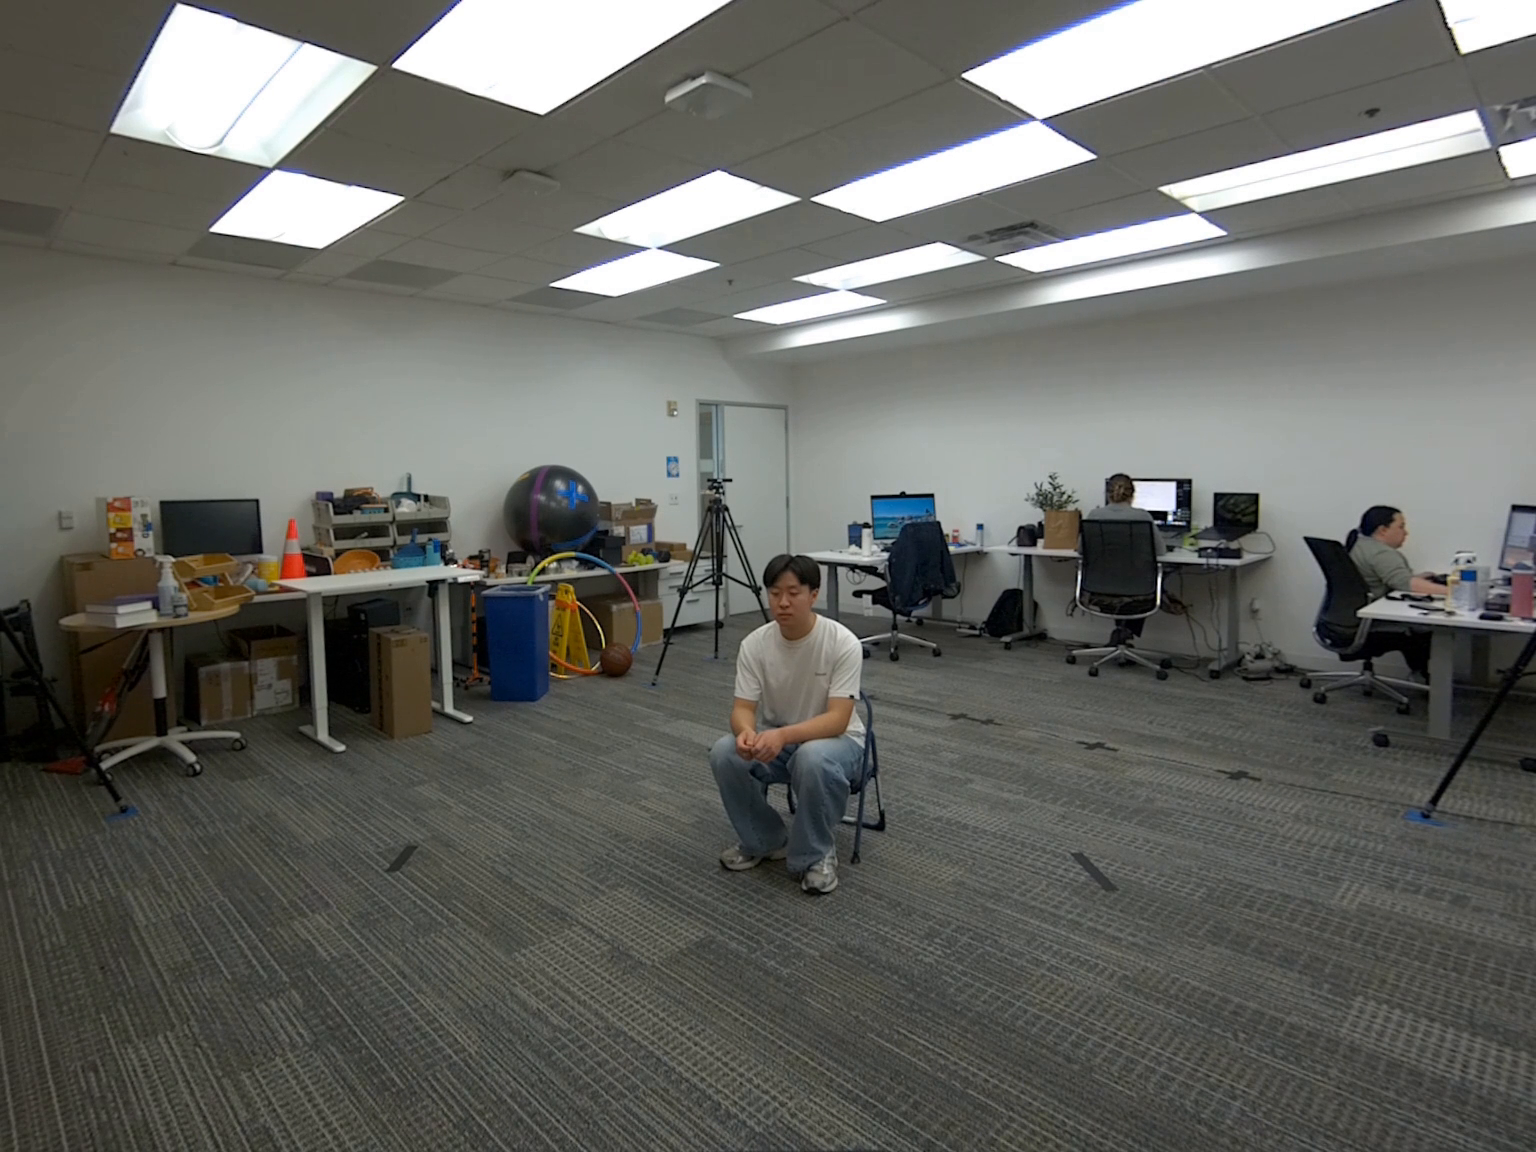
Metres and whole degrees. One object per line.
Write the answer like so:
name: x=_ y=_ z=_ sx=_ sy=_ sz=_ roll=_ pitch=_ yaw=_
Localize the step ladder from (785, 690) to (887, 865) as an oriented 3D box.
step ladder: x=0.214 y=0.717 z=3.327 sx=0.442 sy=0.604 sz=0.342 roll=2 pitch=5 yaw=28
